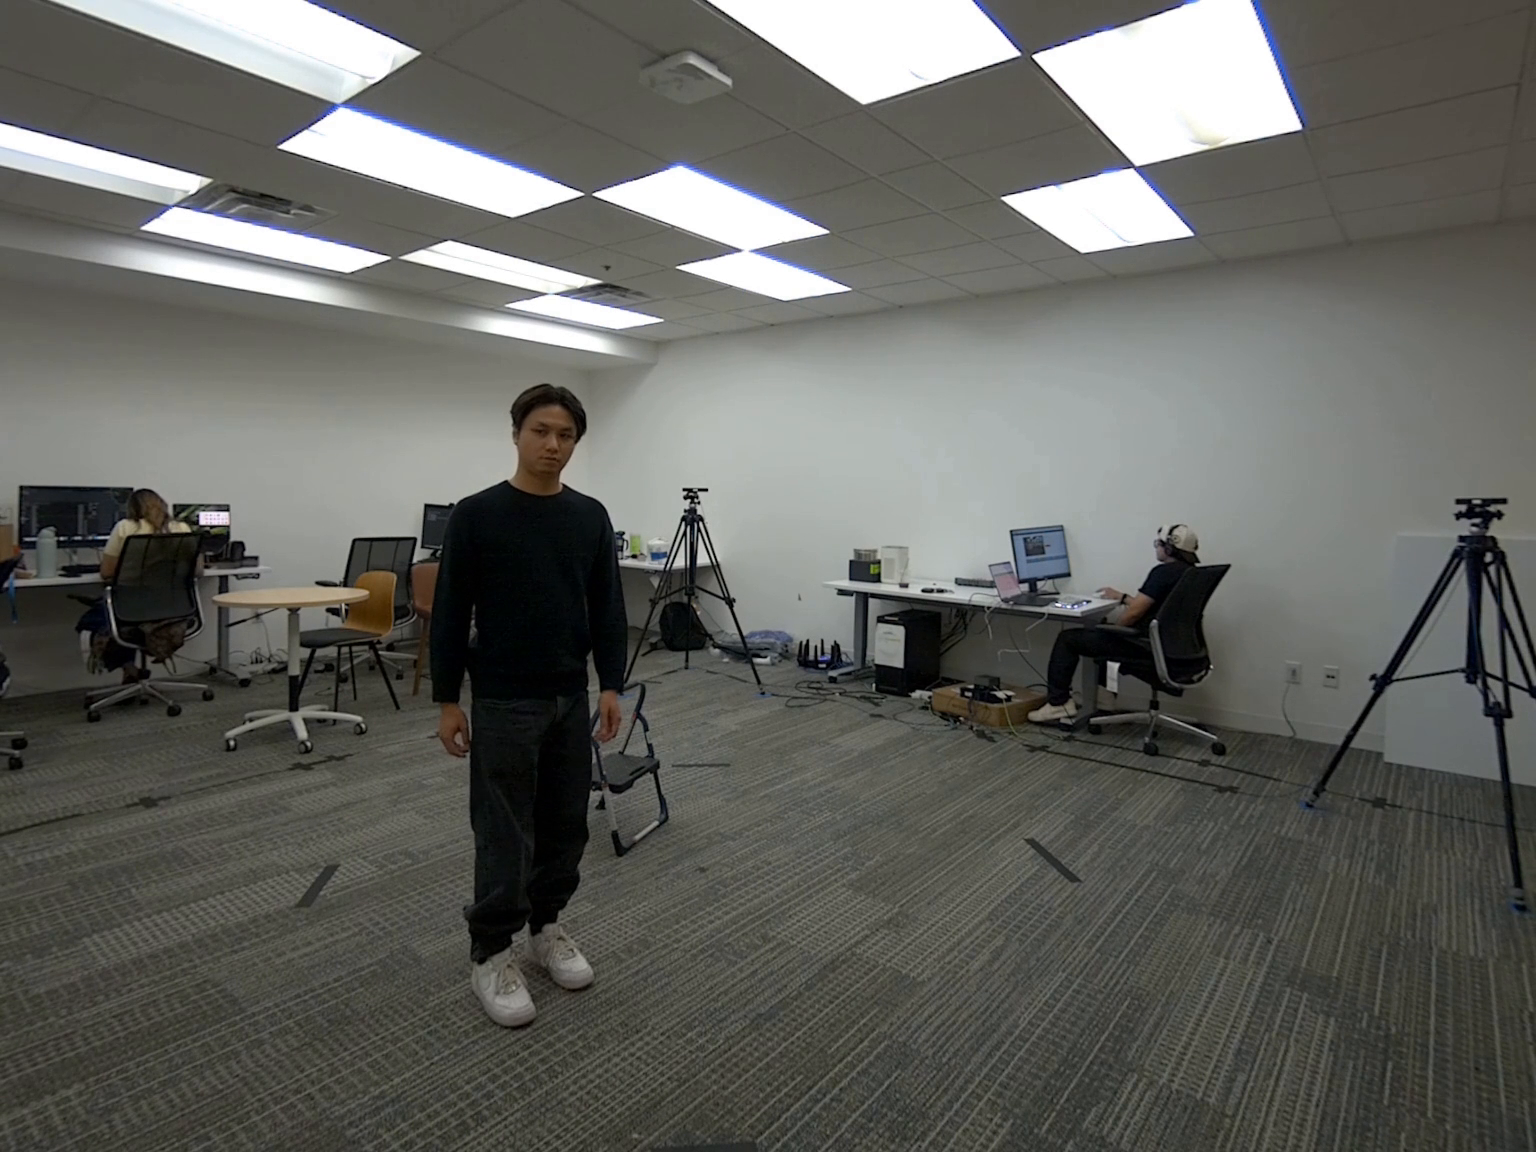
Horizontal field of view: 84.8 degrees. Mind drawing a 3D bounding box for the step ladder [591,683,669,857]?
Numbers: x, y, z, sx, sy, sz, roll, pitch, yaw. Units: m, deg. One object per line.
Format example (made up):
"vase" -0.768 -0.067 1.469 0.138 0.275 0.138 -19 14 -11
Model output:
"step ladder" -0.651 0.729 3.434 0.357 0.604 0.423 1 4 20
